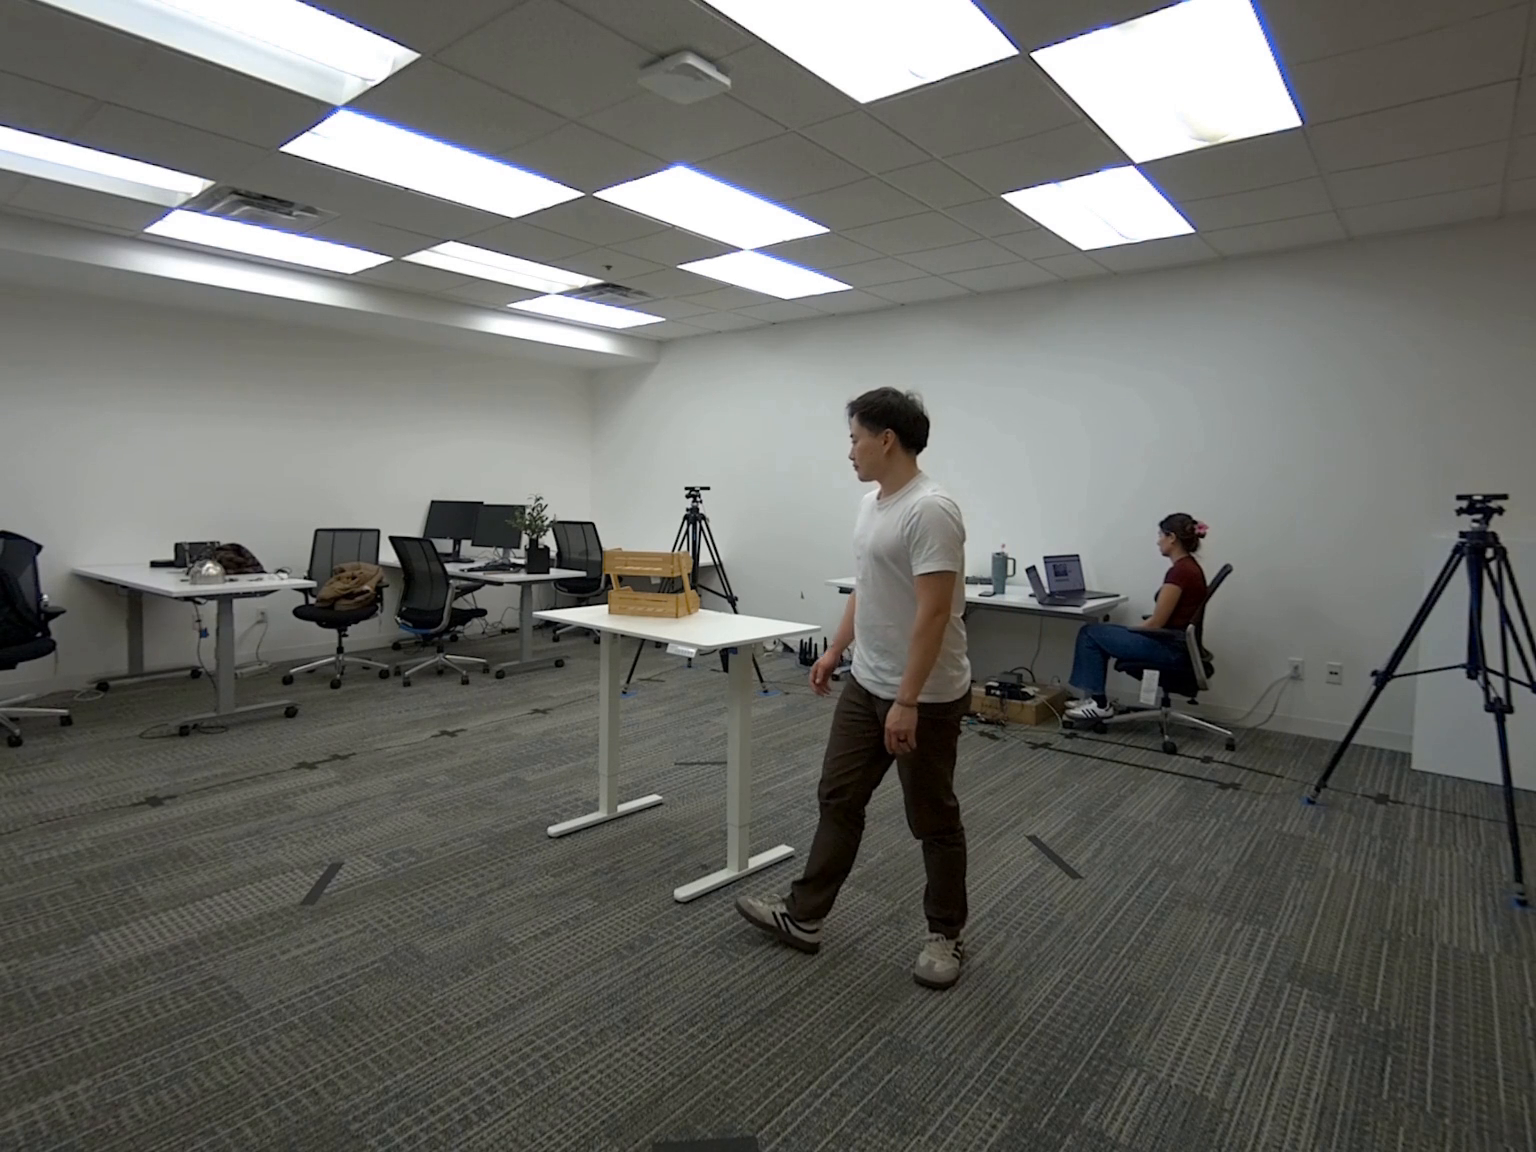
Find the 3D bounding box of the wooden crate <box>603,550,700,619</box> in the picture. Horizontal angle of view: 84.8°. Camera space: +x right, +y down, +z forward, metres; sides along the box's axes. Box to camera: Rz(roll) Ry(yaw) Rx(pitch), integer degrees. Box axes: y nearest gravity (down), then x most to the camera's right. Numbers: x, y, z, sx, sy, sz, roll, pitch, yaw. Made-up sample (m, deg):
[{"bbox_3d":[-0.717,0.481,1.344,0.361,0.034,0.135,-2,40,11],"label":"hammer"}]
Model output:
[{"bbox_3d":[-0.478,0.015,3.443,0.331,0.272,0.298,2,5,17],"label":"wooden crate"}]
